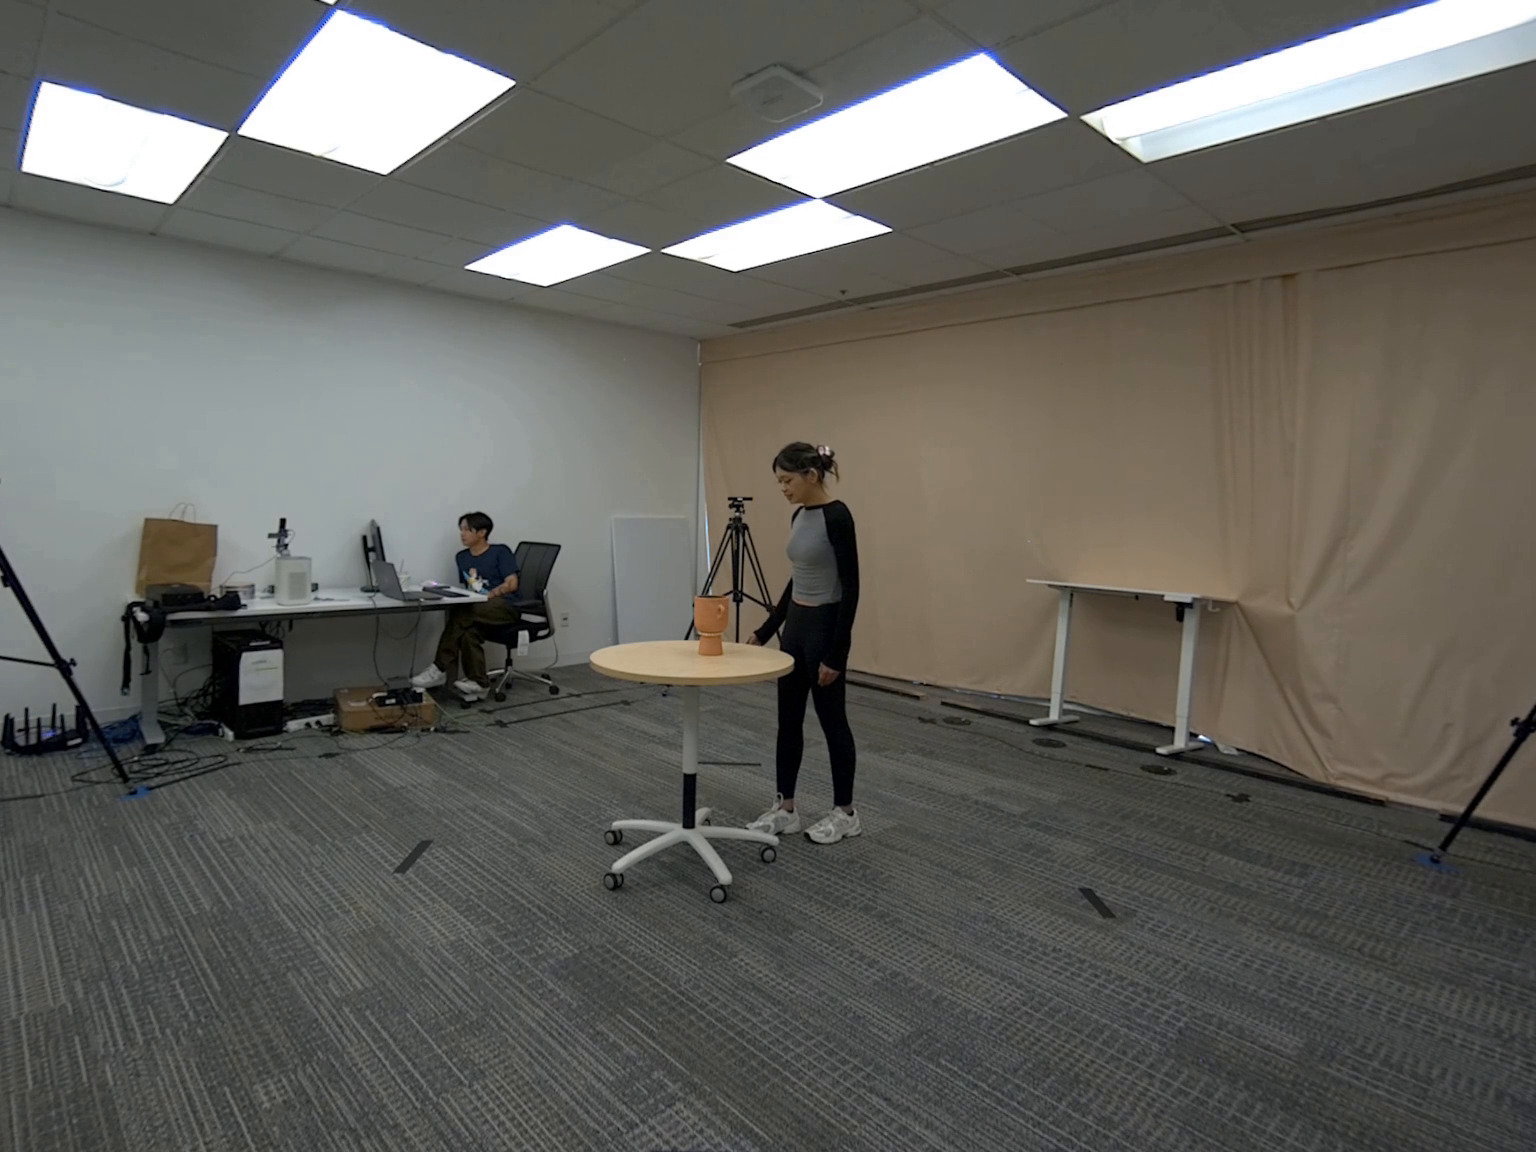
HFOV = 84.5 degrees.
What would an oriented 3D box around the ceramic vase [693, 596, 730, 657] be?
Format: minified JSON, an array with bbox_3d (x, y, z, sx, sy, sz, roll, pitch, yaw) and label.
[{"bbox_3d":[-0.231,0.192,3.244,0.136,0.219,0.158,2,3,8],"label":"ceramic vase"}]
